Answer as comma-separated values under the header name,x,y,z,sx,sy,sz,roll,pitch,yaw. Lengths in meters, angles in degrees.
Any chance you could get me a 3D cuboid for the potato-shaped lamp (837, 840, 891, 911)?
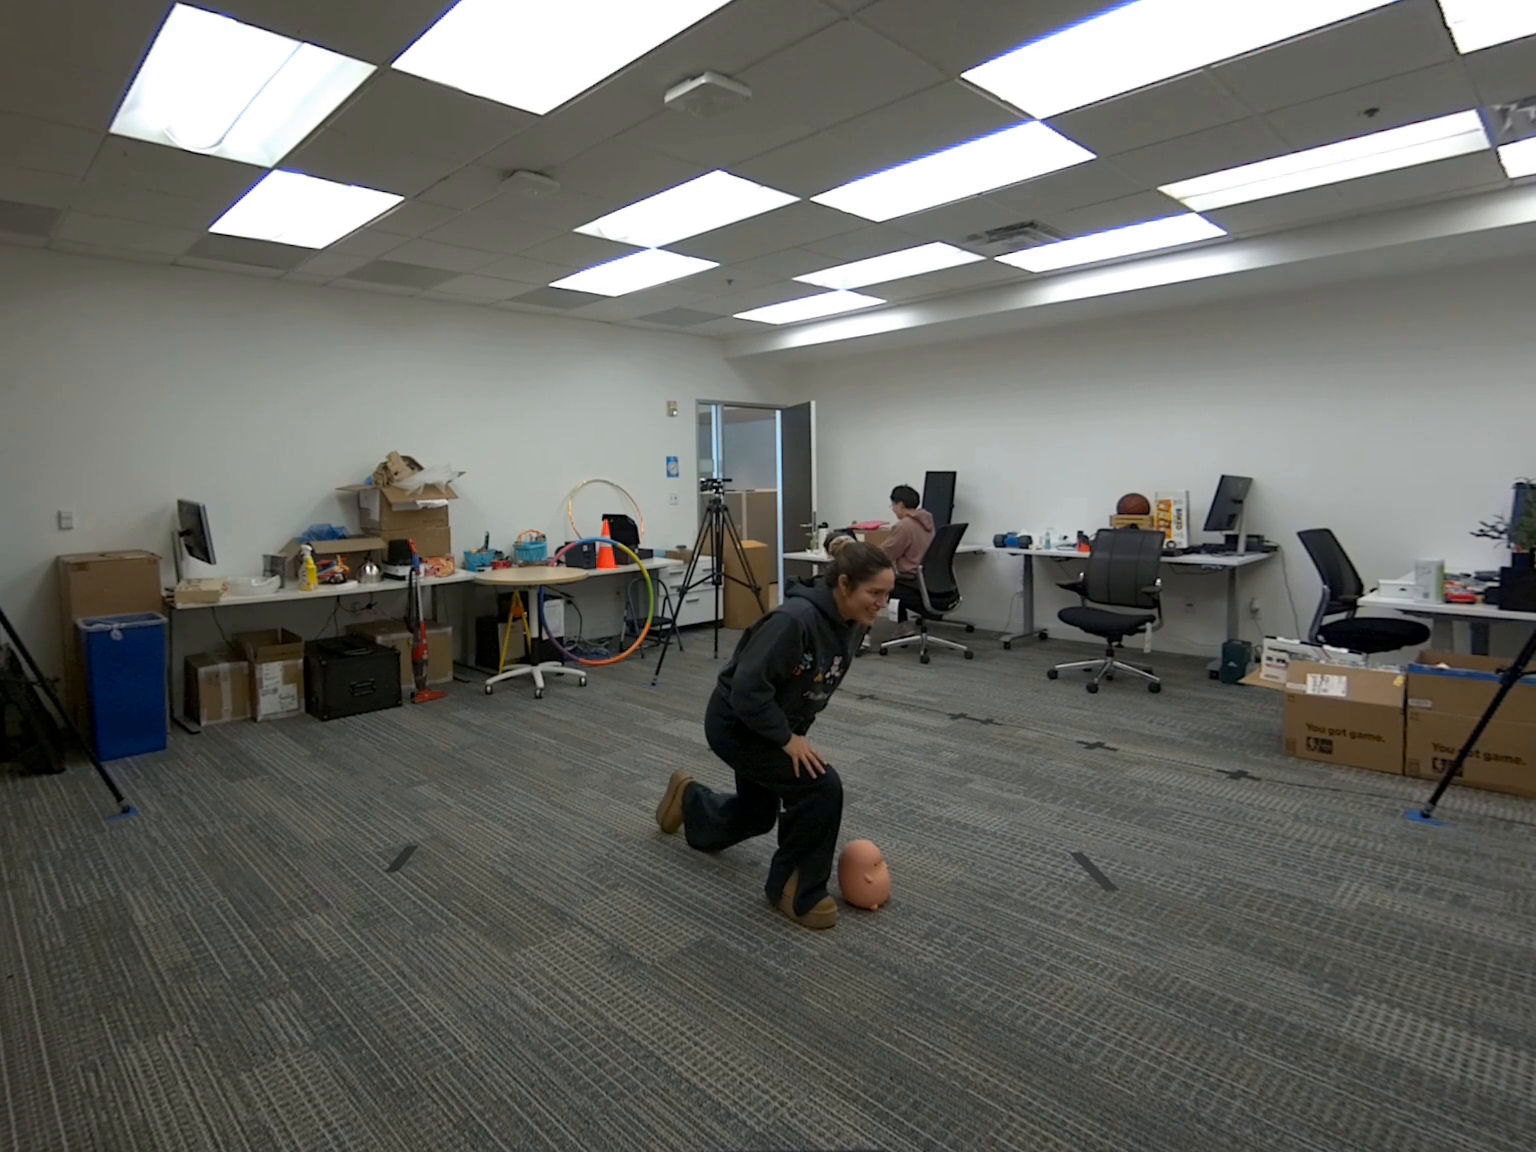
name,x,y,z,sx,sy,sz,roll,pitch,yaw
potato-shaped lamp,0.319,0.973,2.800,0.176,0.197,0.161,1,9,39
